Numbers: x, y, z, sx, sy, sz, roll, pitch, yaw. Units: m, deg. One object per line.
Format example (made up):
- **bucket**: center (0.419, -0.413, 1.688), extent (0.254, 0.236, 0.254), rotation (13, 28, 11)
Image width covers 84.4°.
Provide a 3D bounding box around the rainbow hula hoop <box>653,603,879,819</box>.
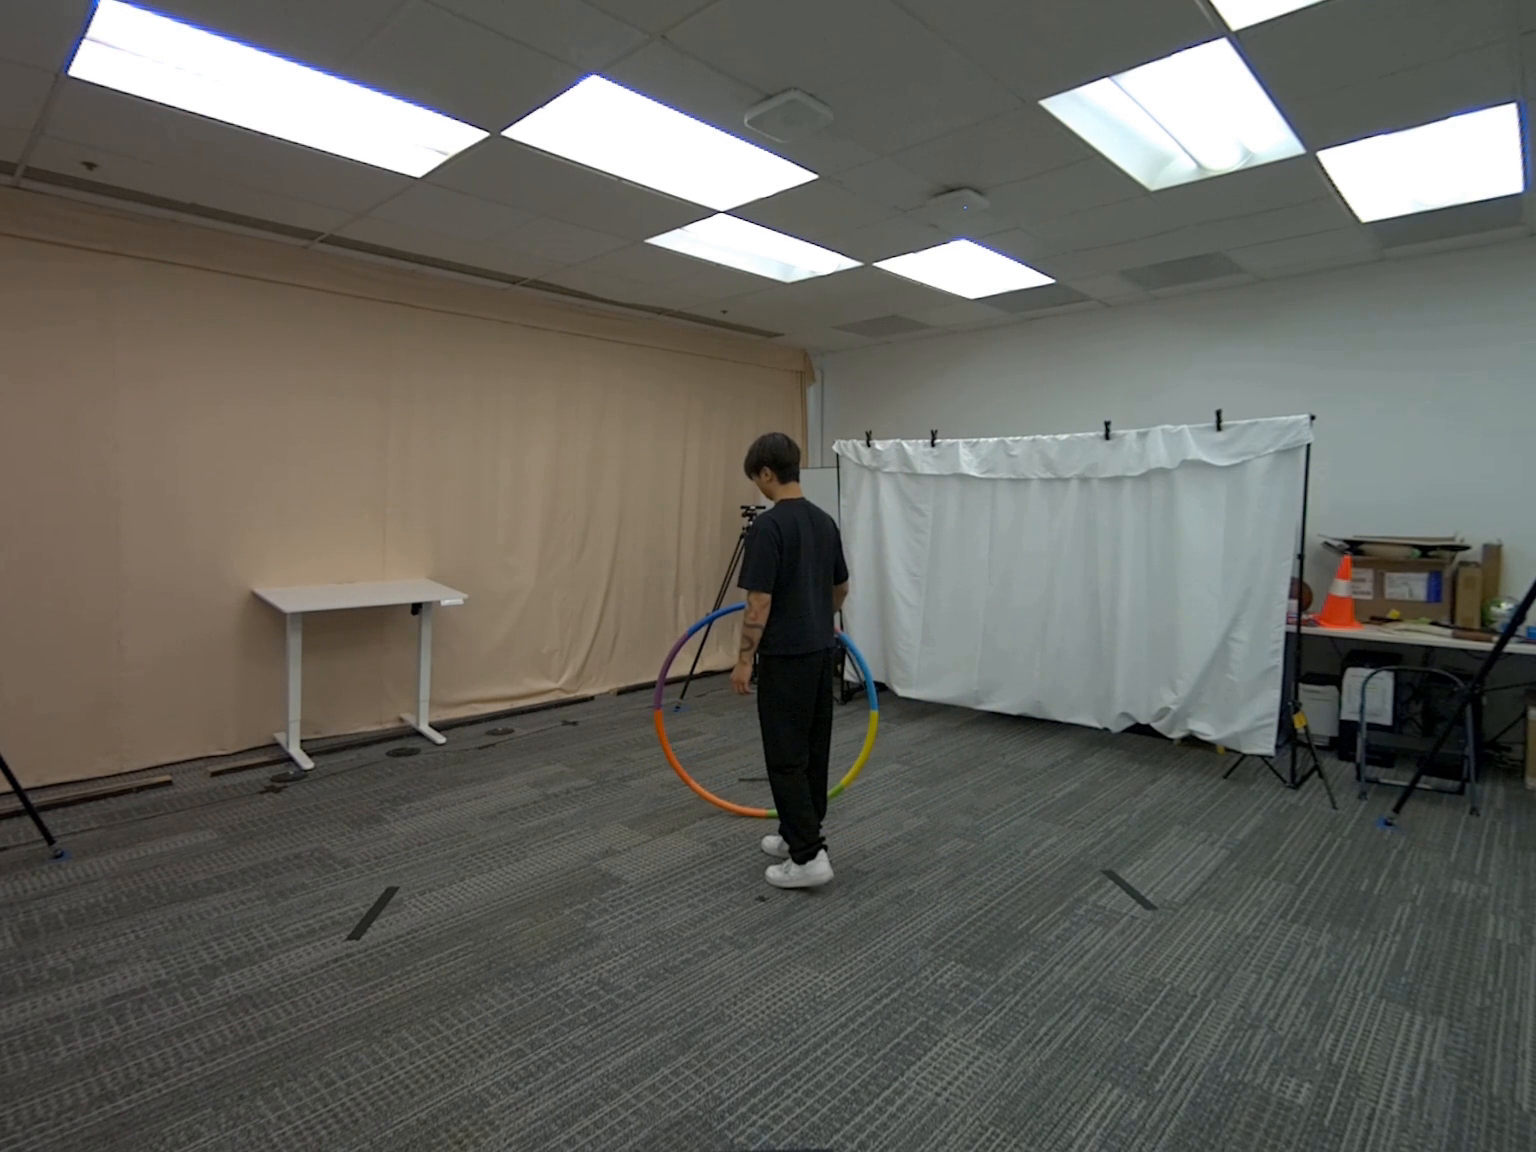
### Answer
- **rainbow hula hoop**: center (-0.016, 0.599, 3.748), extent (0.985, 0.976, 0.035), rotation (0, 3, 6)
